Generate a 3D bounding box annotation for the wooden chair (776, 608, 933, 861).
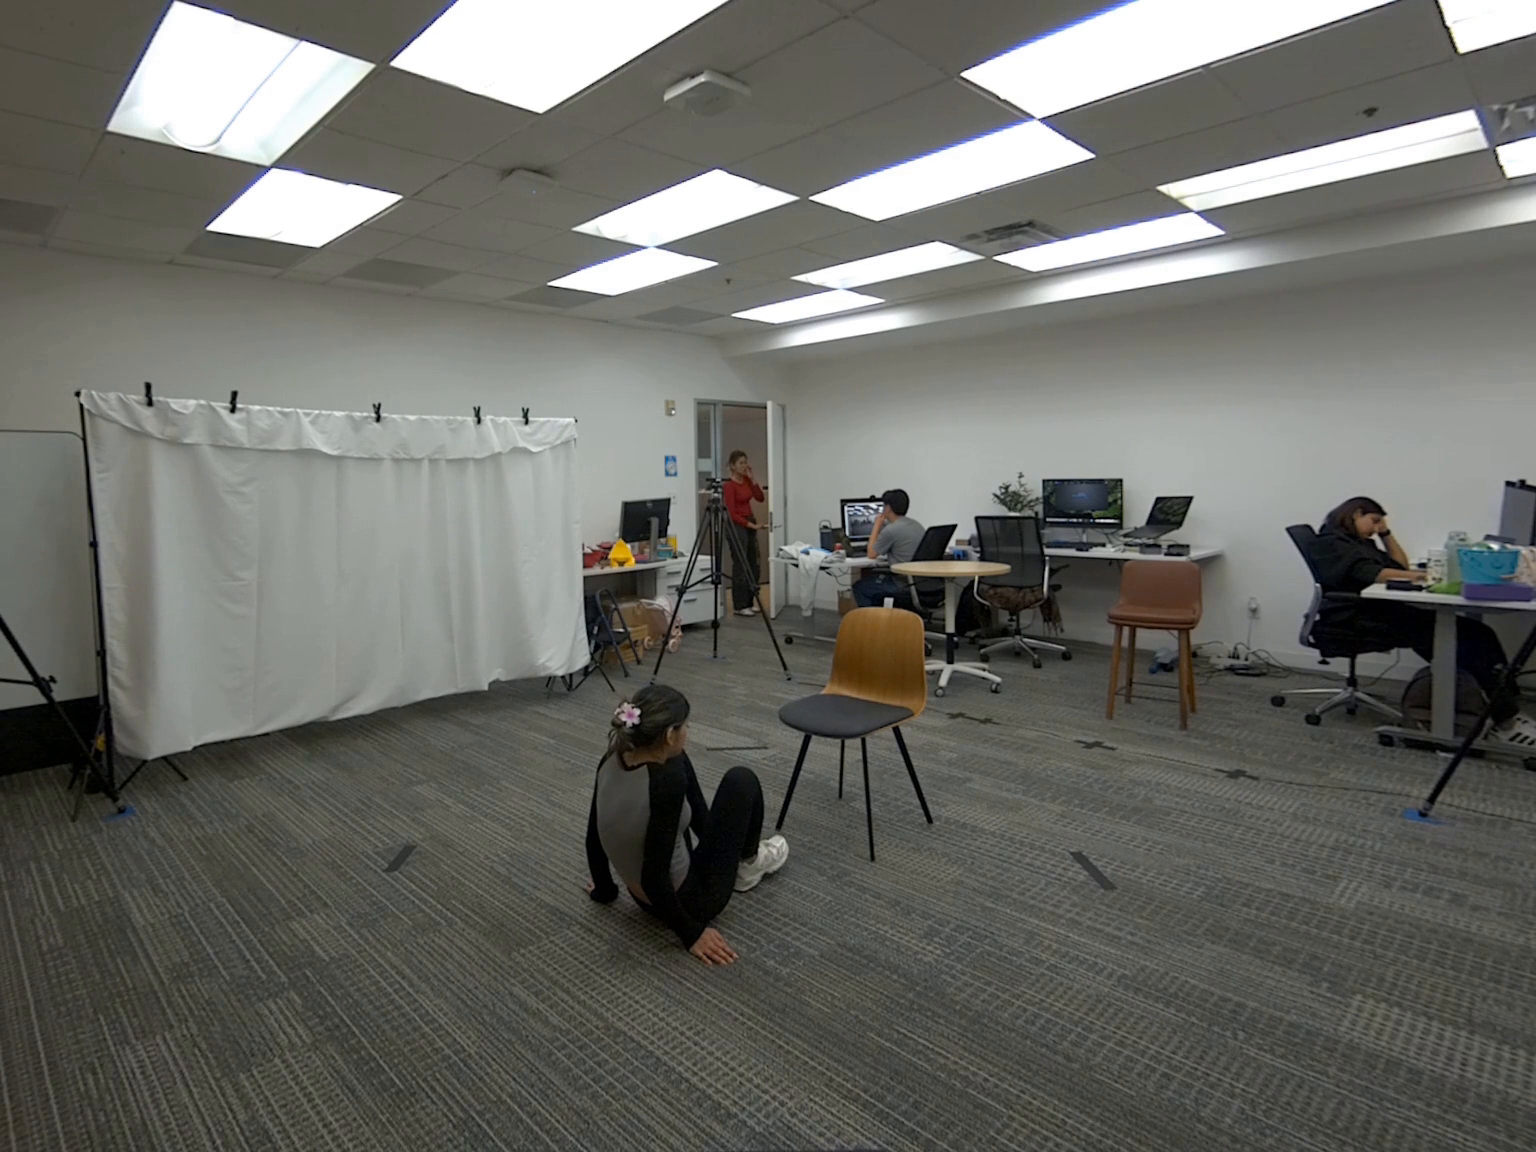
[{"bbox_3d":[0.337,0.576,3.375,0.492,0.877,0.508,3,1,40],"label":"wooden chair"}]
